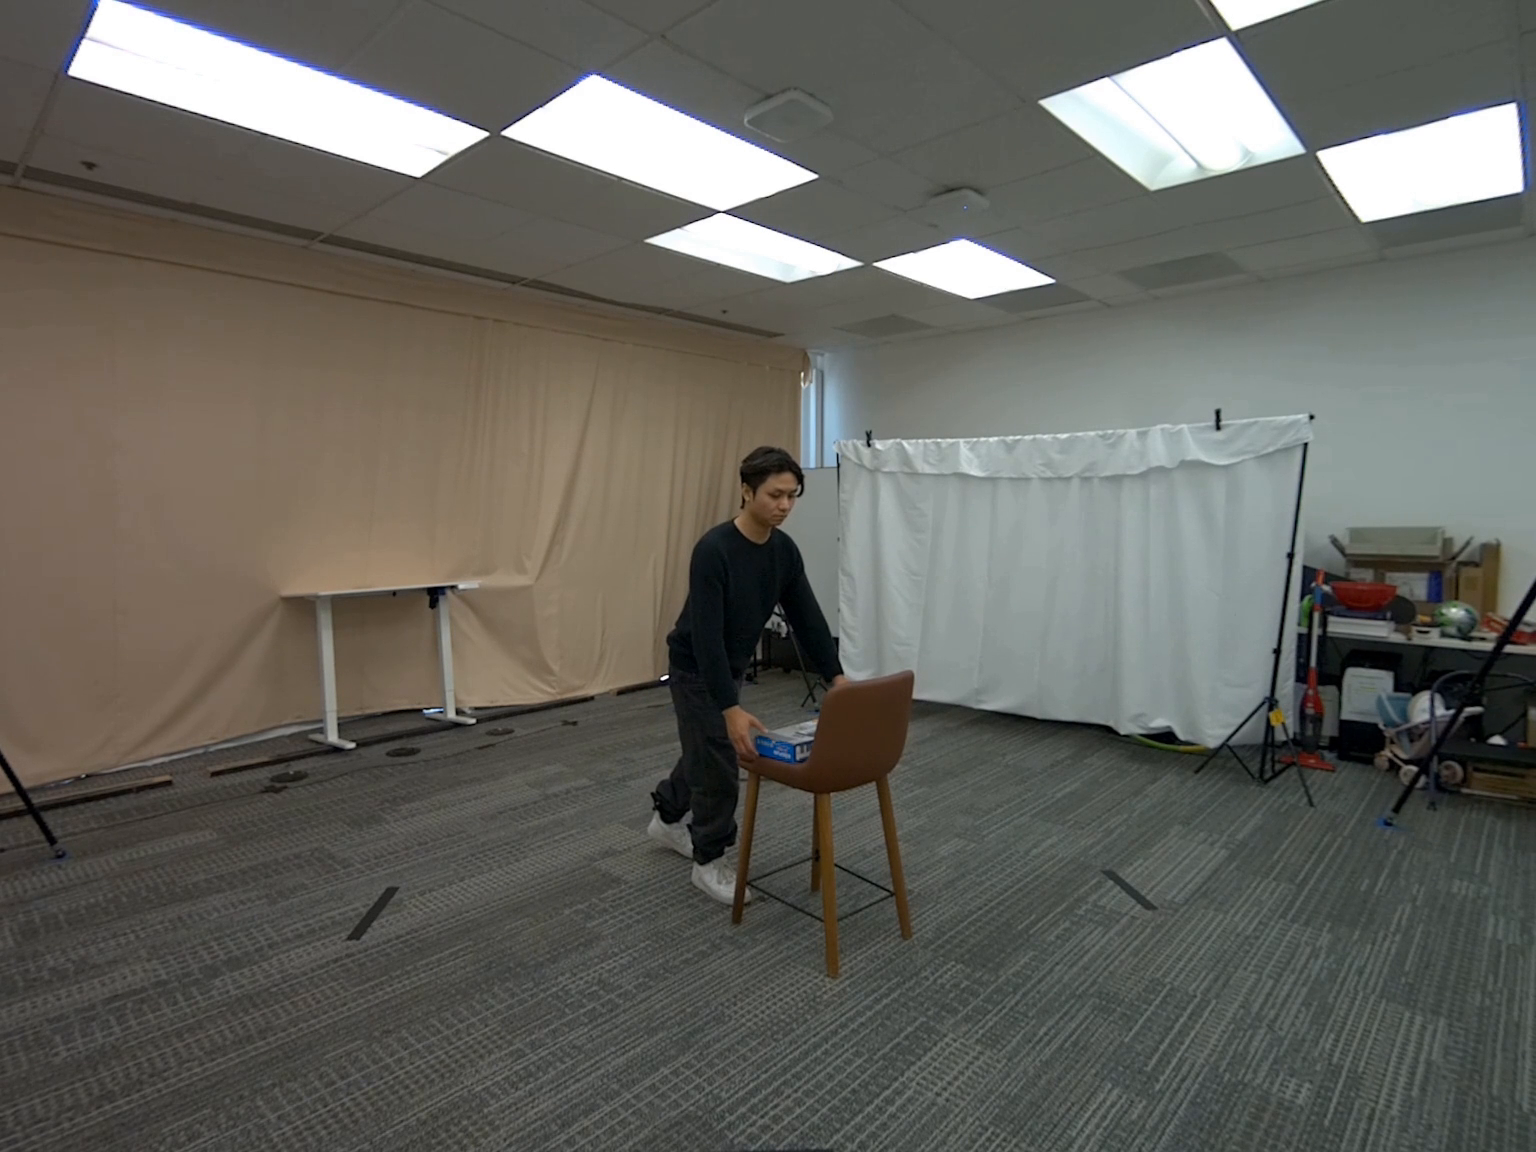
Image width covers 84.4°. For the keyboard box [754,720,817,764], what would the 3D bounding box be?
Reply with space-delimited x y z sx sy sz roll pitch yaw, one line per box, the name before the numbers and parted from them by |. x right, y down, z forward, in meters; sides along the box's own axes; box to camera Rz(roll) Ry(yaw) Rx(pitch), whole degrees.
keyboard box | 0.179 0.510 2.727 0.424 0.059 0.181 -5 4 -42
